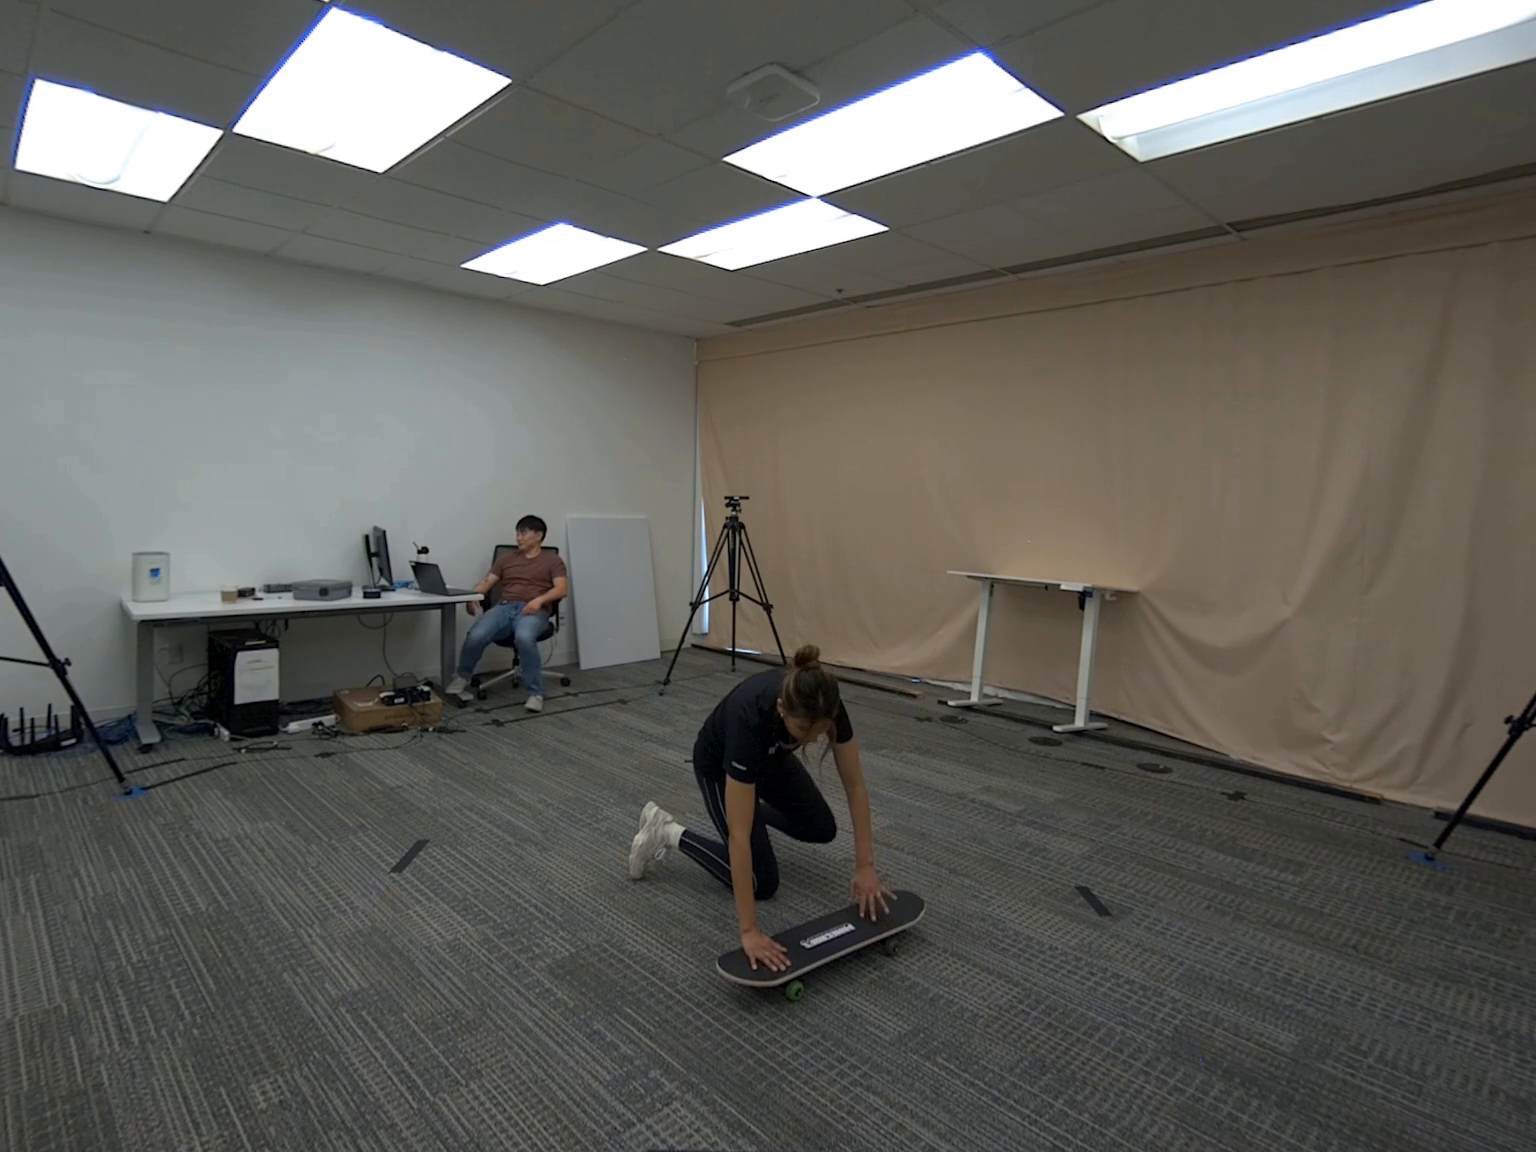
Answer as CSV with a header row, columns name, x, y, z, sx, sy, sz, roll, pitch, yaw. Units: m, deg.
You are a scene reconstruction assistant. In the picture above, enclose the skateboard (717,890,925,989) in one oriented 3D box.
name,x,y,z,sx,sy,sz,roll,pitch,yaw
skateboard,0.173,1.109,2.522,0.768,0.110,0.198,-3,6,-38
